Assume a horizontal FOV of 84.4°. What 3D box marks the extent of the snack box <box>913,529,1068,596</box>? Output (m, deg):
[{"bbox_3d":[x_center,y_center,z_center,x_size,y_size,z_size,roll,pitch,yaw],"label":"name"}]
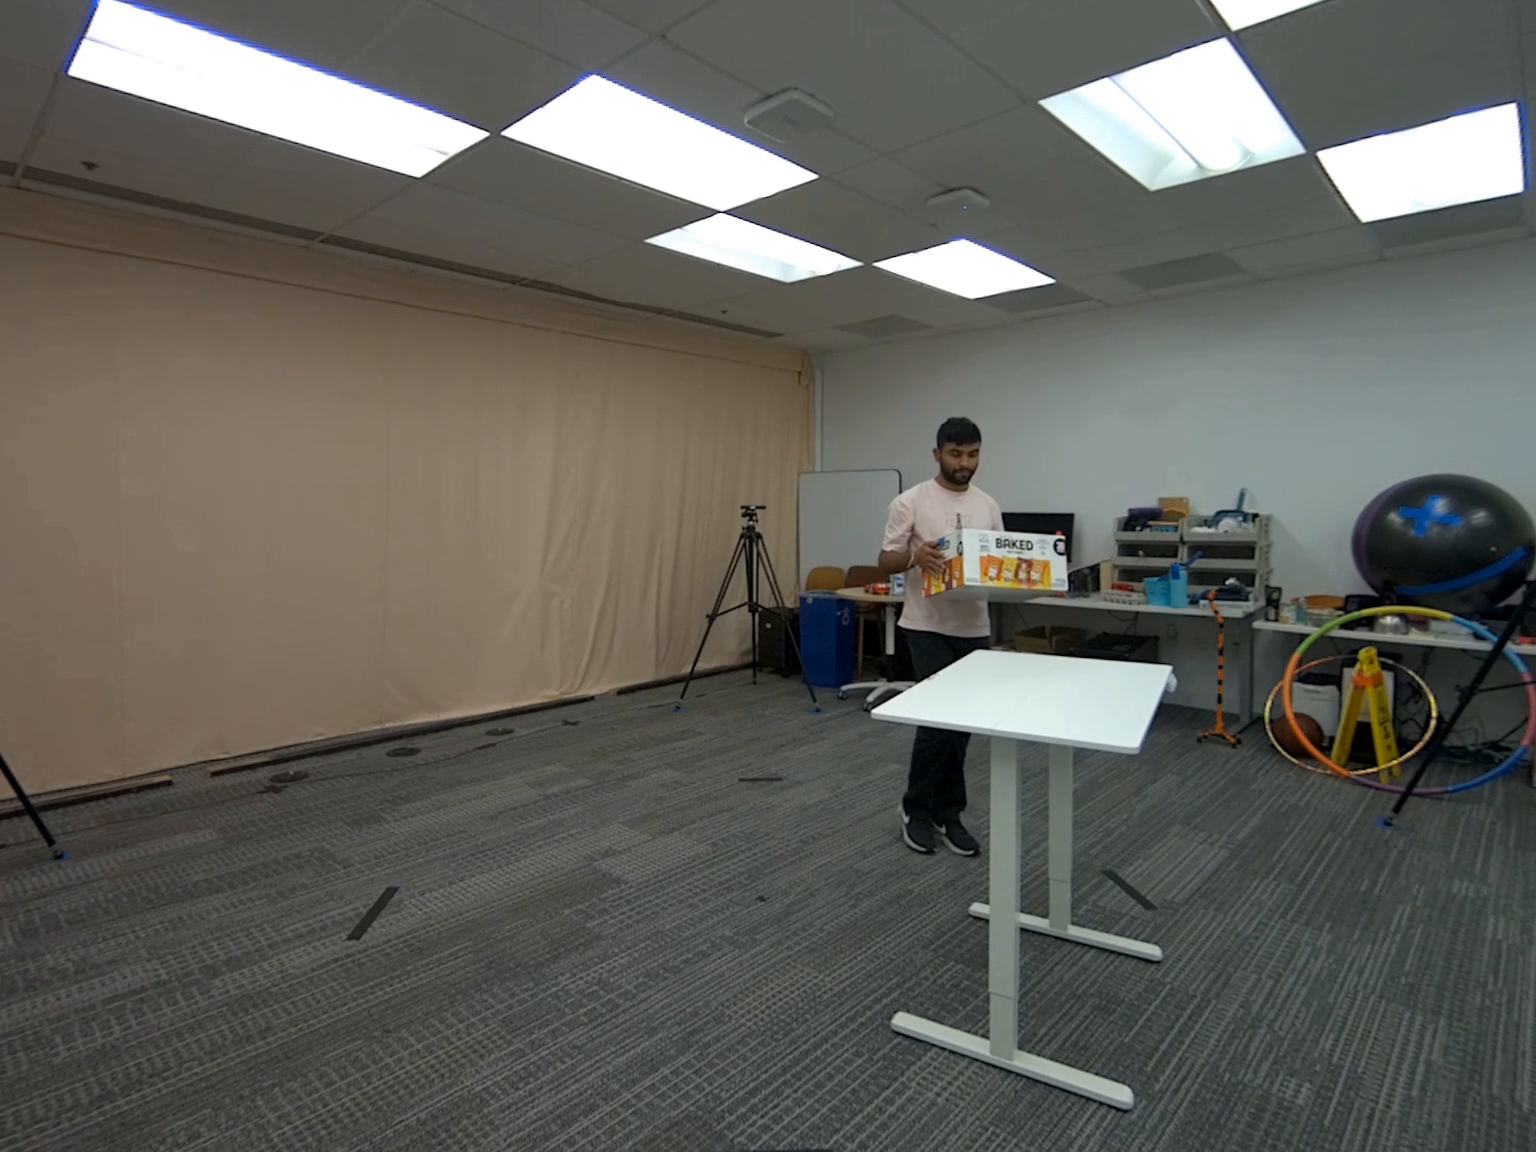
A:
[{"bbox_3d":[0.829,-0.029,3.138,0.400,0.207,0.343,4,-10,-13],"label":"snack box"}]
